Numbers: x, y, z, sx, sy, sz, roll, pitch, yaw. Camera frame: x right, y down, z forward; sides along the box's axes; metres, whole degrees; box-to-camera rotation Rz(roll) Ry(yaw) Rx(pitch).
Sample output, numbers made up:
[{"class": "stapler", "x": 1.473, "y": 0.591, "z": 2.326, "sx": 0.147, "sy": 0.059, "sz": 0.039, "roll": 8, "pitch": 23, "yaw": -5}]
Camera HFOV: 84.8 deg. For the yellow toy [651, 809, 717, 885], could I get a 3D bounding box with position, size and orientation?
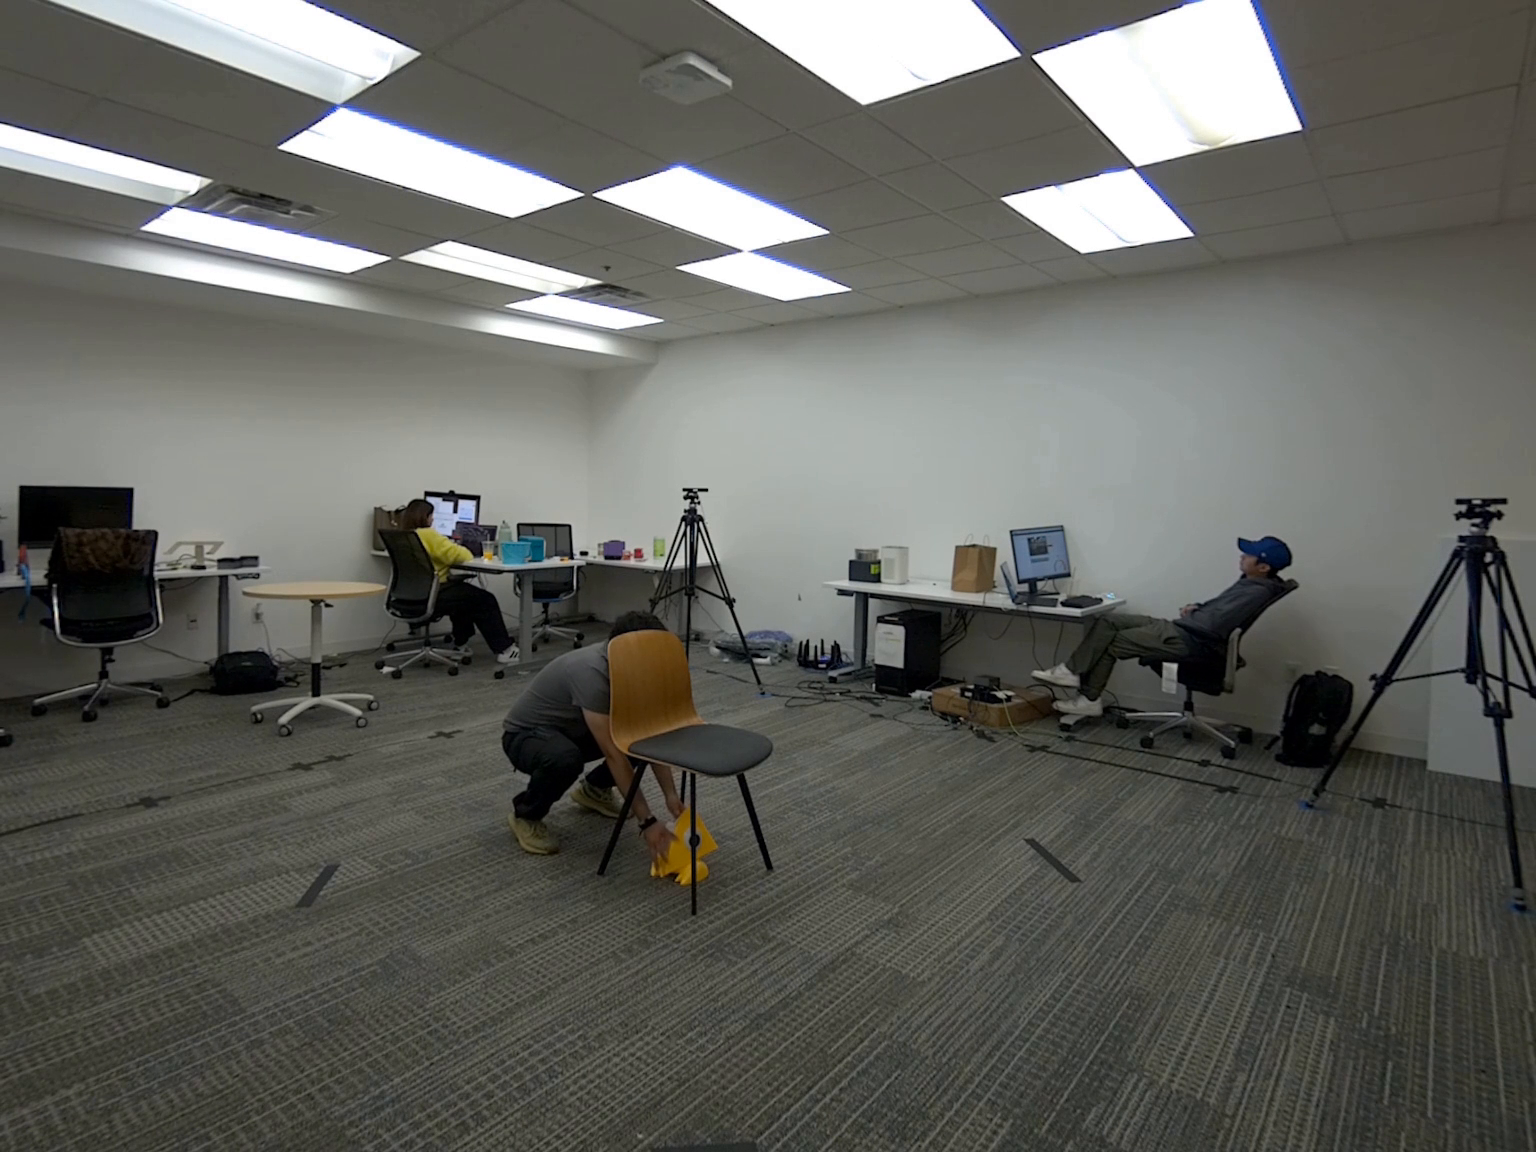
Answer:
[{"class": "yellow toy", "x": -0.315, "y": 0.961, "z": 3.088, "sx": 0.211, "sy": 0.231, "sz": 0.186, "roll": 5, "pitch": 0, "yaw": 38}]
